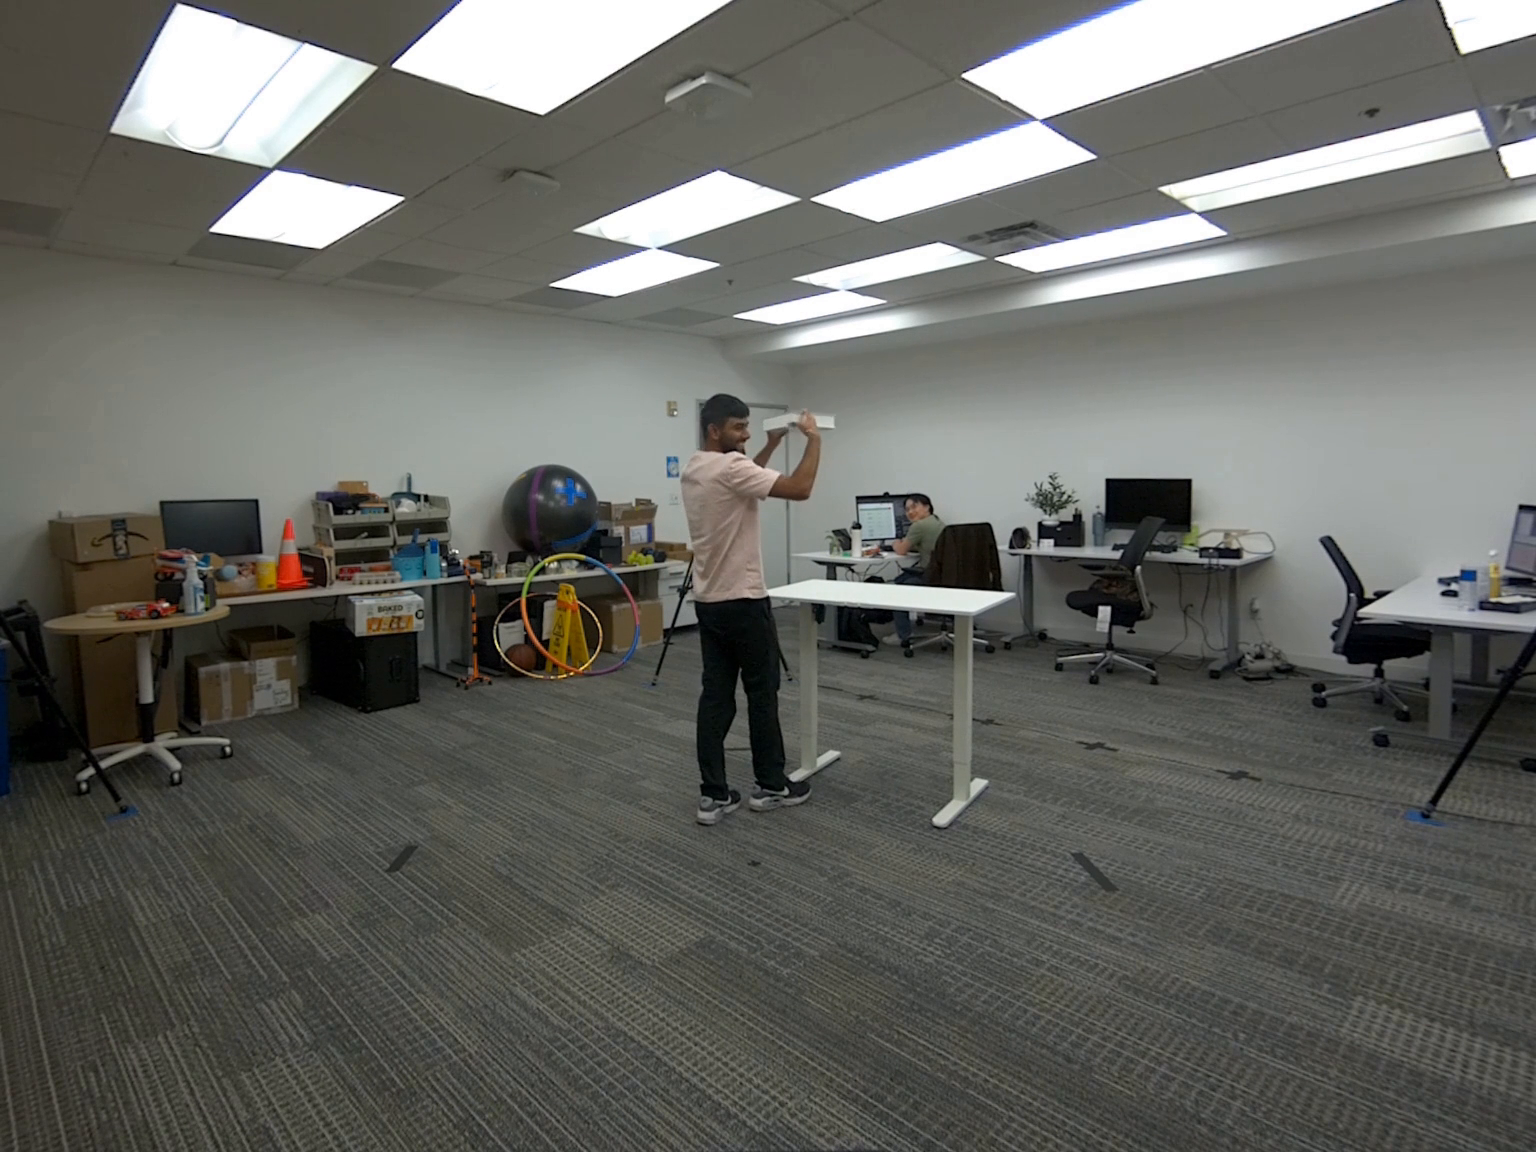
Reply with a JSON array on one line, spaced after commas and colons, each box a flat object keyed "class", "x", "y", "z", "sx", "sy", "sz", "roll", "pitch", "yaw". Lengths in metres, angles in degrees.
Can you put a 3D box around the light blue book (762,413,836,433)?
[{"class": "light blue book", "x": 0.126, "y": -0.648, "z": 3.647, "sx": 0.254, "sy": 0.059, "sz": 0.196, "roll": -6, "pitch": 3, "yaw": -39}]
